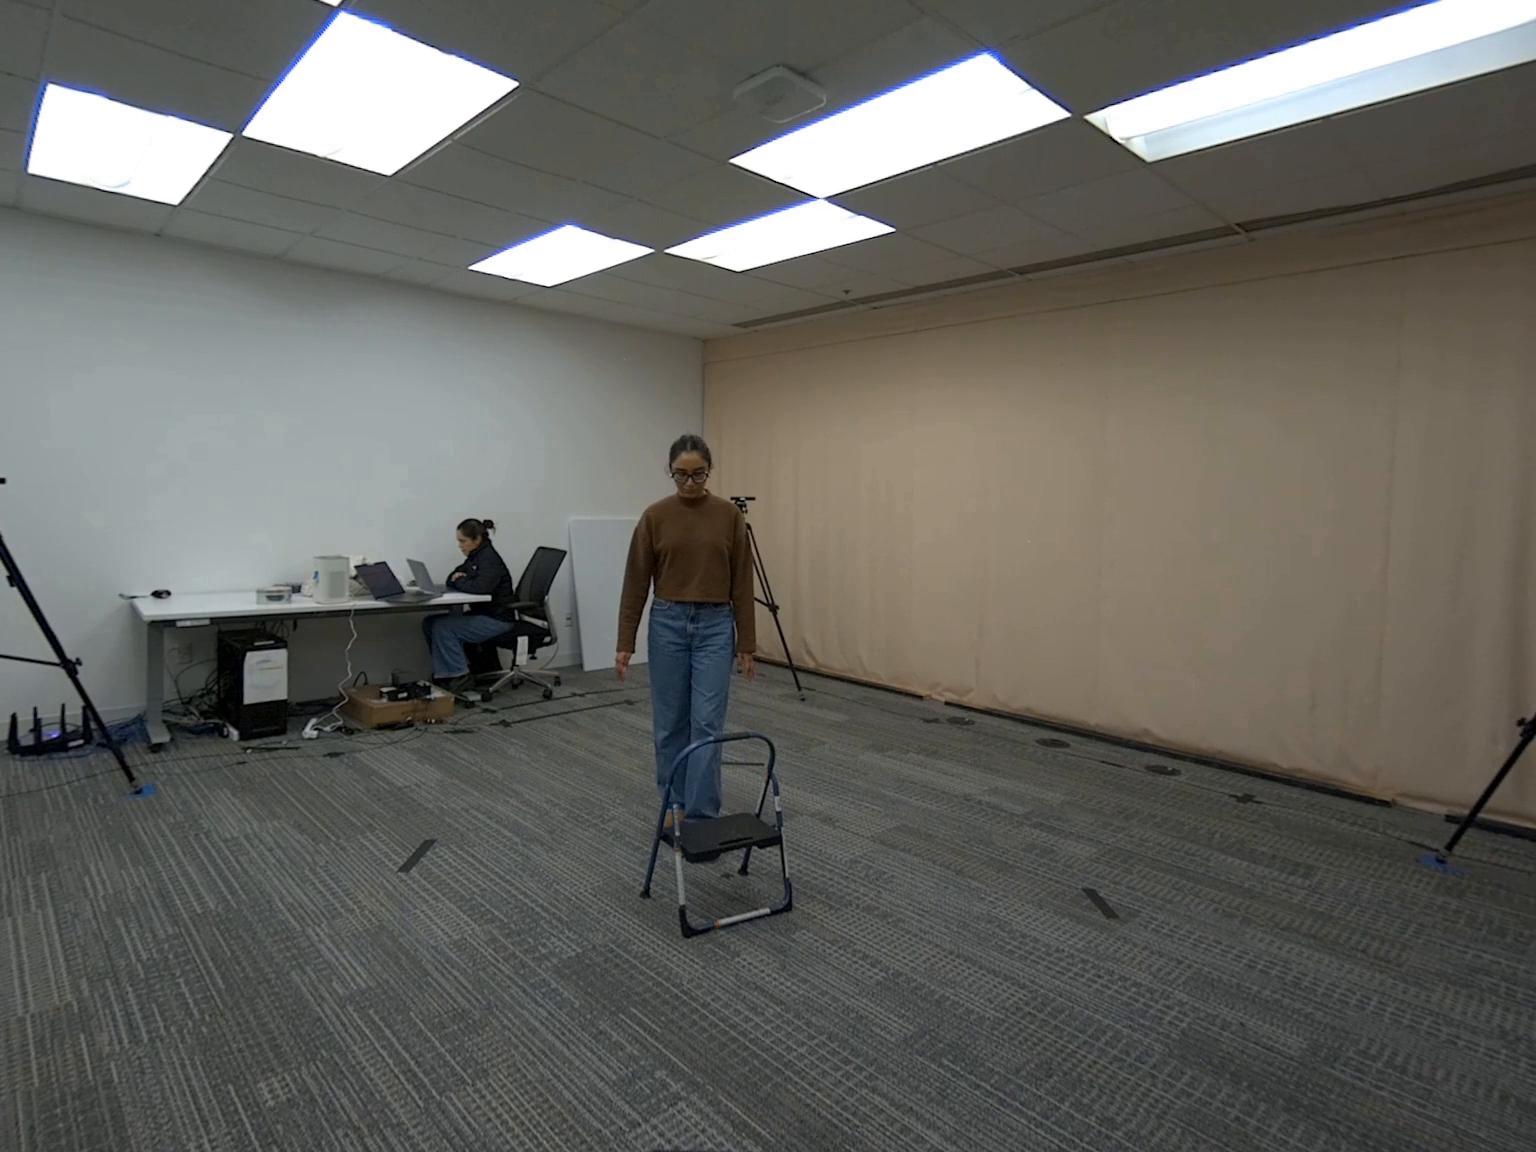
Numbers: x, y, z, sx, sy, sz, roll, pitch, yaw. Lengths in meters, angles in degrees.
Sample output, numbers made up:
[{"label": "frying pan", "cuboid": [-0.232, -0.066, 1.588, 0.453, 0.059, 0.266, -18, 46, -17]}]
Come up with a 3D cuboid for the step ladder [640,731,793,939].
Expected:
[{"label": "step ladder", "cuboid": [-0.176, 0.824, 2.884, 0.422, 0.605, 0.357, -1, 4, -32]}]
